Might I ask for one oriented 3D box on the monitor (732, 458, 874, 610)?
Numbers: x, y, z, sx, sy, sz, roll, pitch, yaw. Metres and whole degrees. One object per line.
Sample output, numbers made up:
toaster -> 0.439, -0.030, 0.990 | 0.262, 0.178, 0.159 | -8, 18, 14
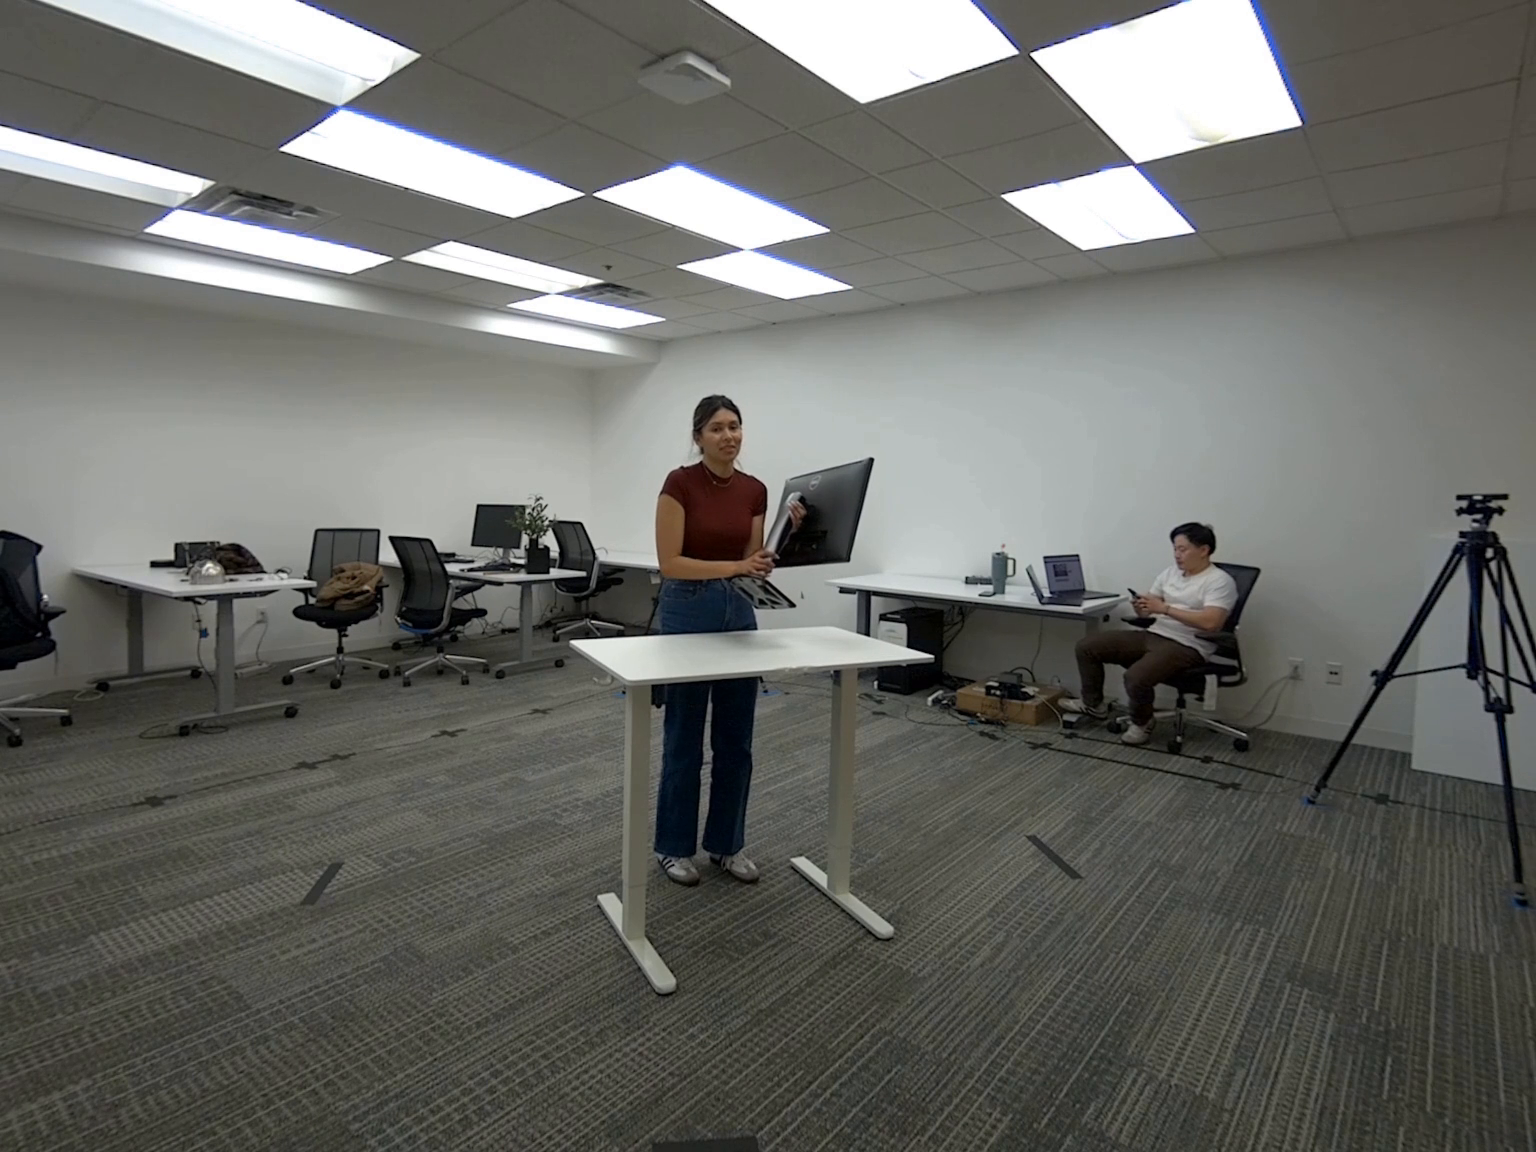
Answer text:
monitor -> 0.087, -0.144, 2.870 | 0.182, 0.525, 0.552 | 37, -19, -23
